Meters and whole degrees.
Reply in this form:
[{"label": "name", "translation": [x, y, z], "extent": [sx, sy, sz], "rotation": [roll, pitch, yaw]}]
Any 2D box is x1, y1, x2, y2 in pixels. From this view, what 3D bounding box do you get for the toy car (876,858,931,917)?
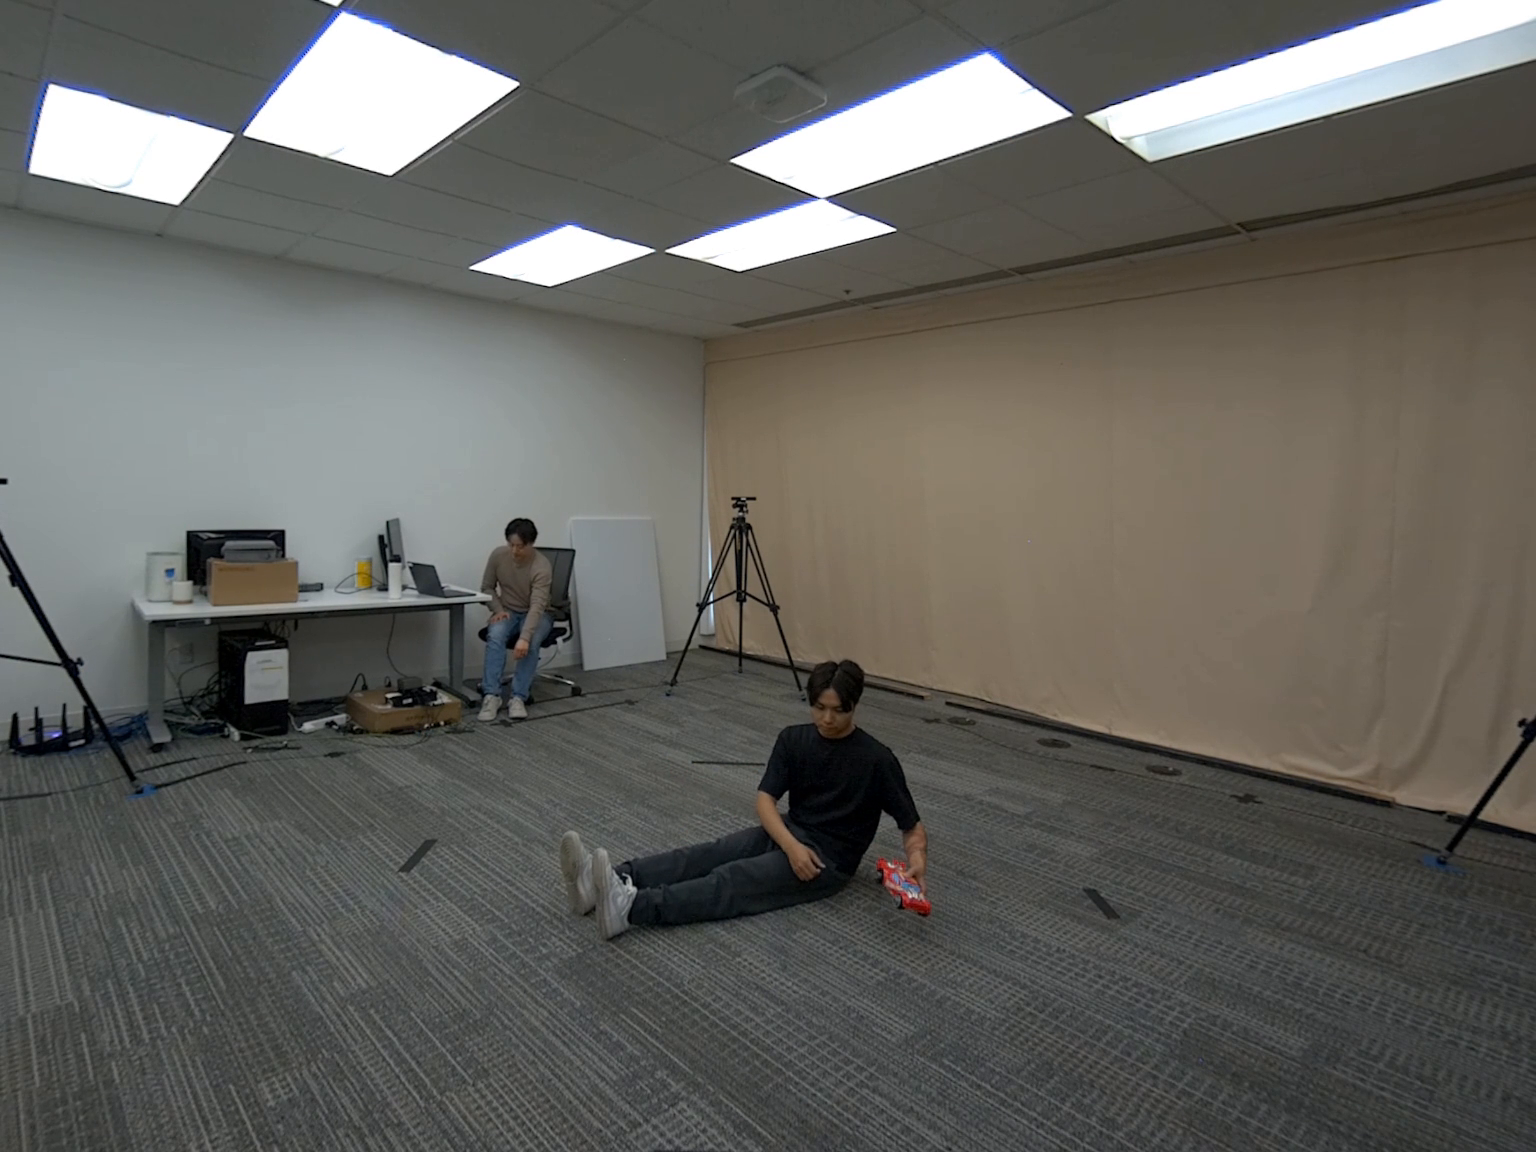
[{"label": "toy car", "translation": [0.406, 0.999, 2.704], "extent": [0.128, 0.083, 0.259], "rotation": [23, 14, -17]}]
